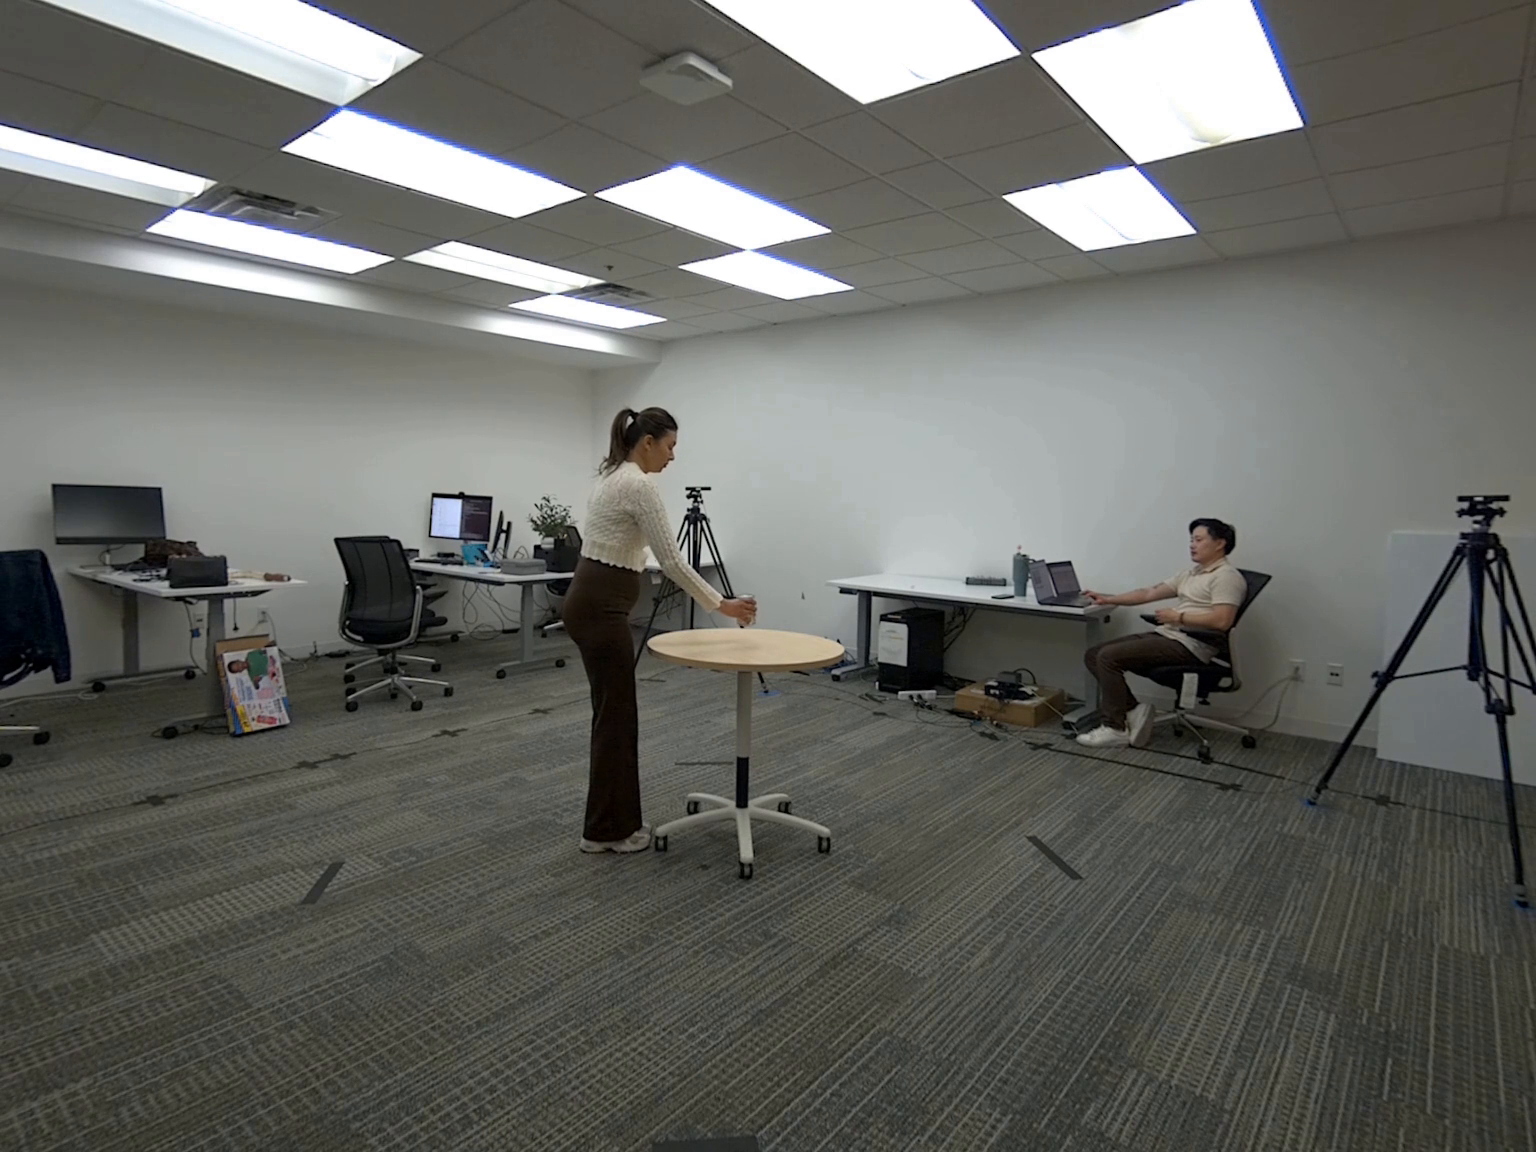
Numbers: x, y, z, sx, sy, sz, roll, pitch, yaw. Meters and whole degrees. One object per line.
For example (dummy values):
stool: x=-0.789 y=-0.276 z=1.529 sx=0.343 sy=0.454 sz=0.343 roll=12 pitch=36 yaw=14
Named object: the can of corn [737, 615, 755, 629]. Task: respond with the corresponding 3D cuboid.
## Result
can of corn: x=-0.102 y=0.136 z=3.336 sx=0.074 sy=0.110 sz=0.075 roll=-2 pitch=5 yaw=-2
